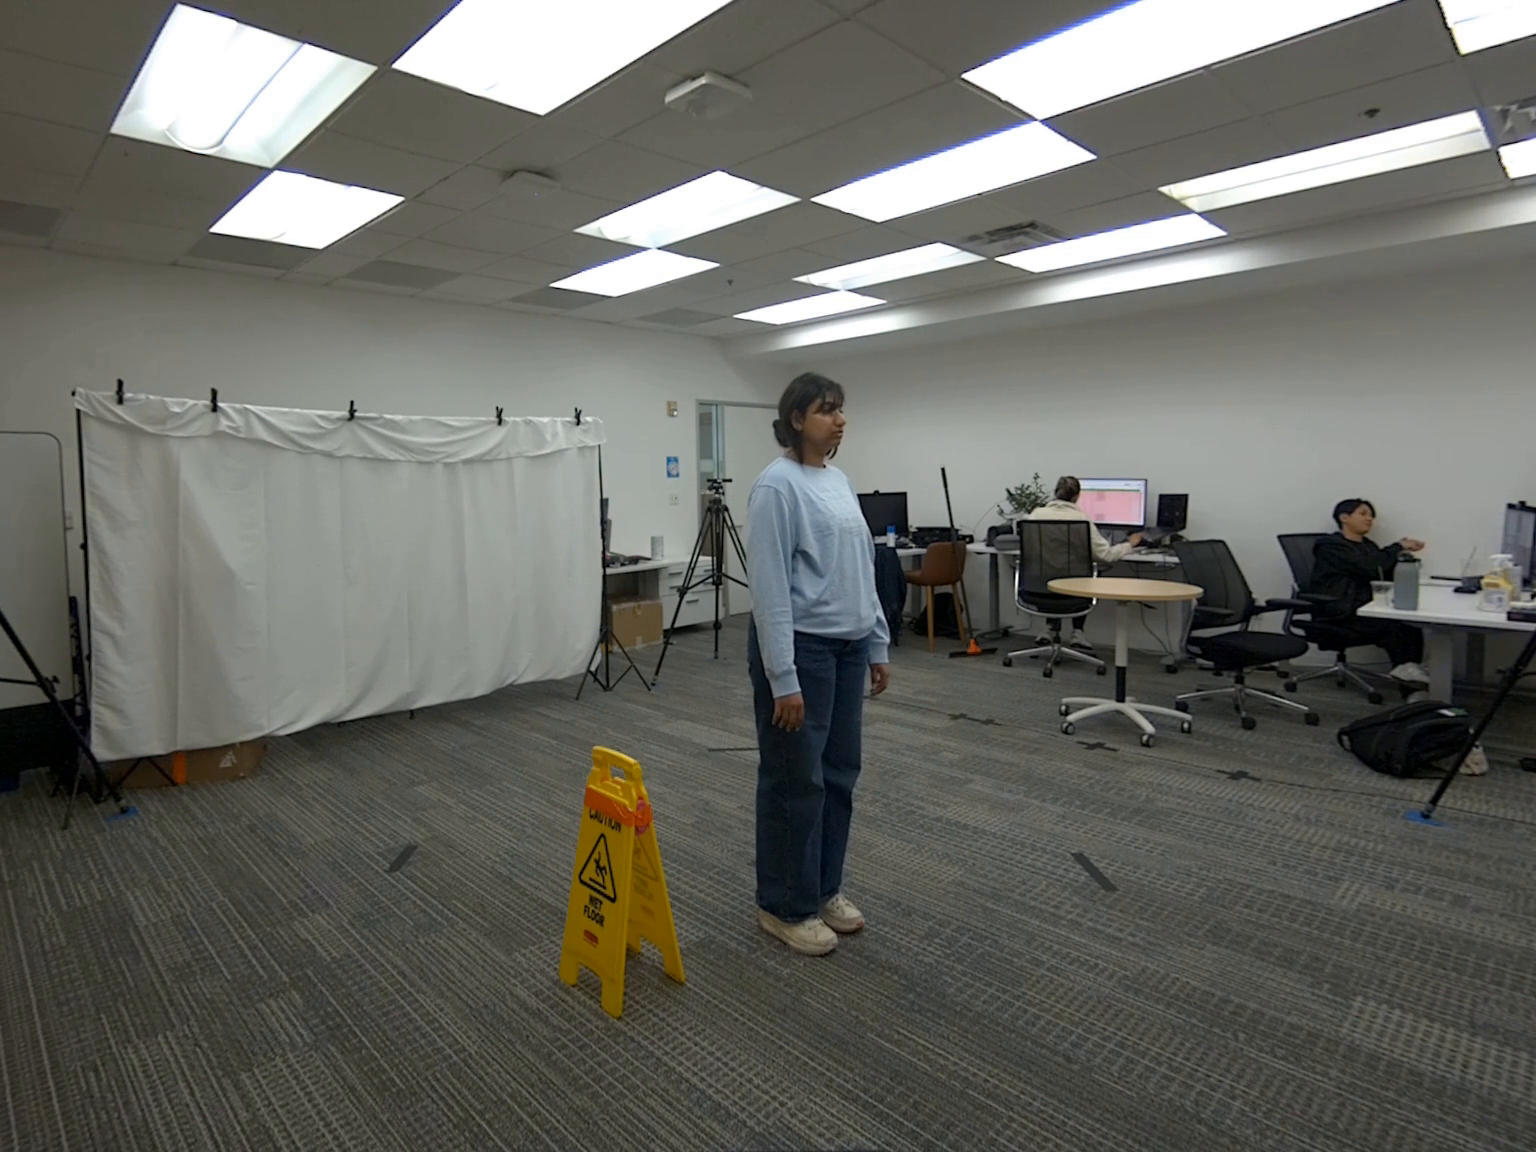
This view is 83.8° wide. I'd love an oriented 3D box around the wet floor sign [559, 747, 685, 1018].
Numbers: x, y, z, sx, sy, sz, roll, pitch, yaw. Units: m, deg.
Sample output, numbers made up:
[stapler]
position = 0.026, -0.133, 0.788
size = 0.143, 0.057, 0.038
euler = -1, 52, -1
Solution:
[wet floor sign]
position = -0.409, 0.813, 2.379
size = 0.282, 0.644, 0.291
euler = -5, 6, -43
